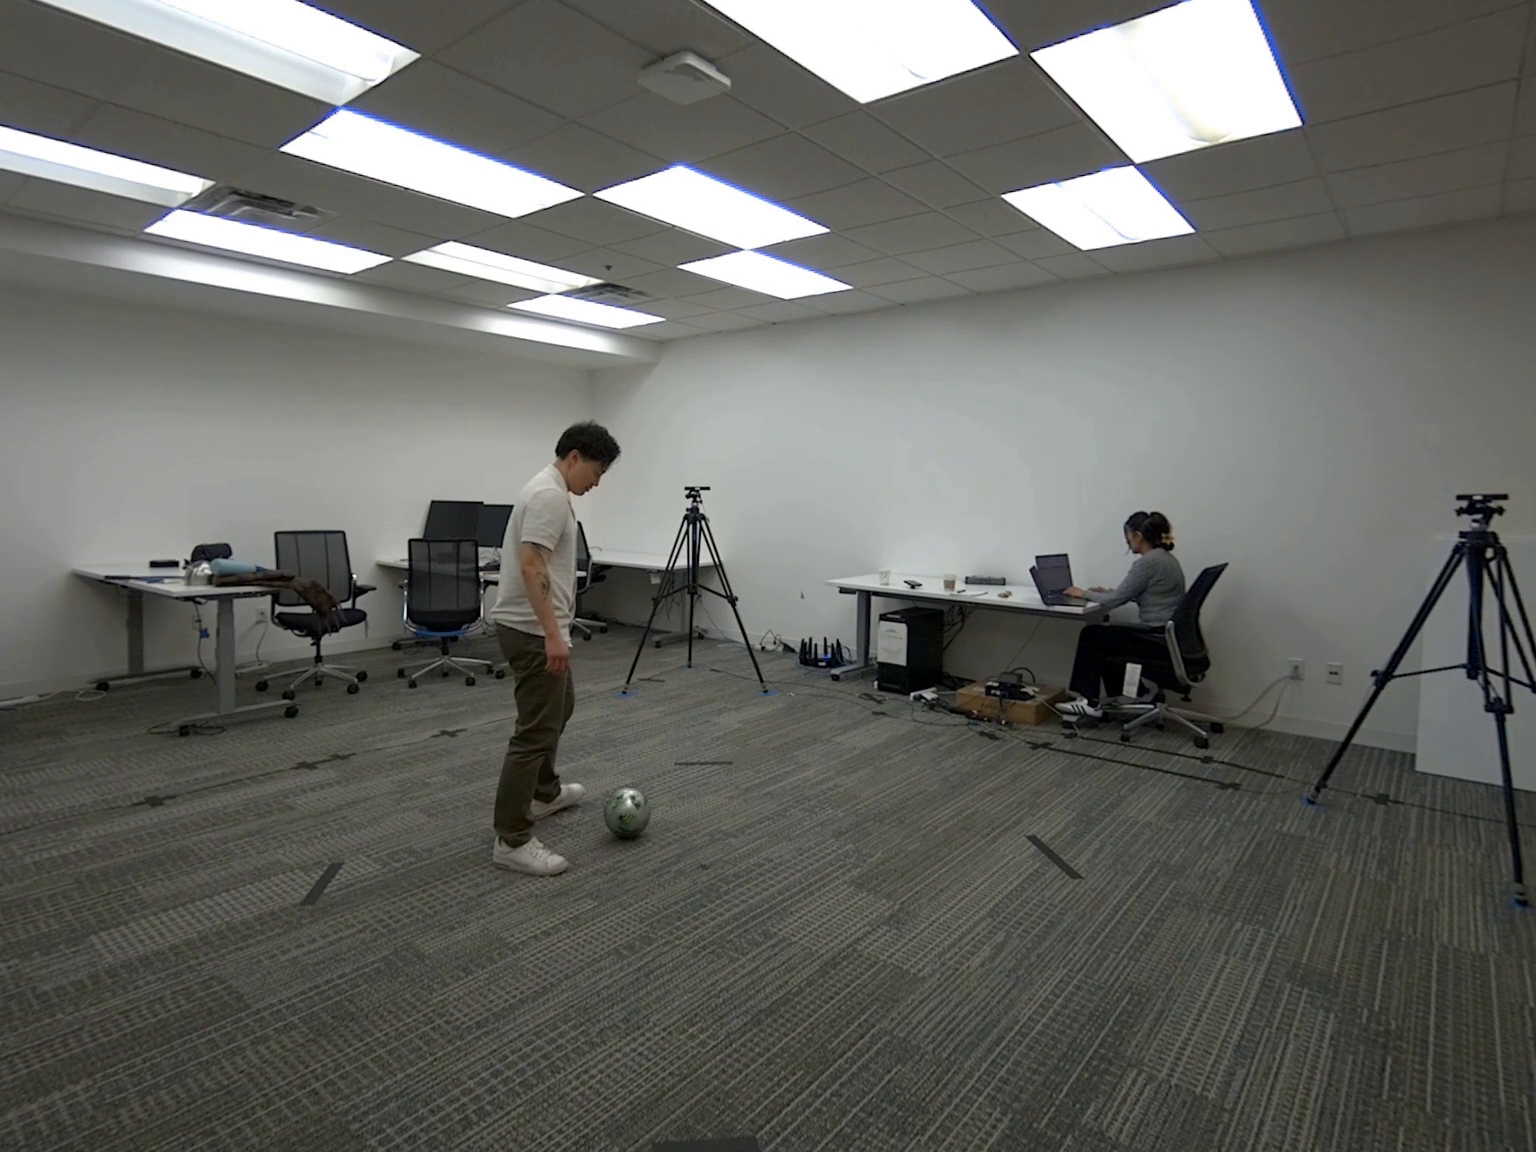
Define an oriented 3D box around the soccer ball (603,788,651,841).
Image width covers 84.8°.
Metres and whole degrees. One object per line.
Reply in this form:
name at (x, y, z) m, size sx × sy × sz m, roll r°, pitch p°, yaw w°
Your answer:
soccer ball at (-0.564, 0.938, 3.378) m, size 0.187 × 0.187 × 0.188 m, roll 0°, pitch 4°, yaw -2°
